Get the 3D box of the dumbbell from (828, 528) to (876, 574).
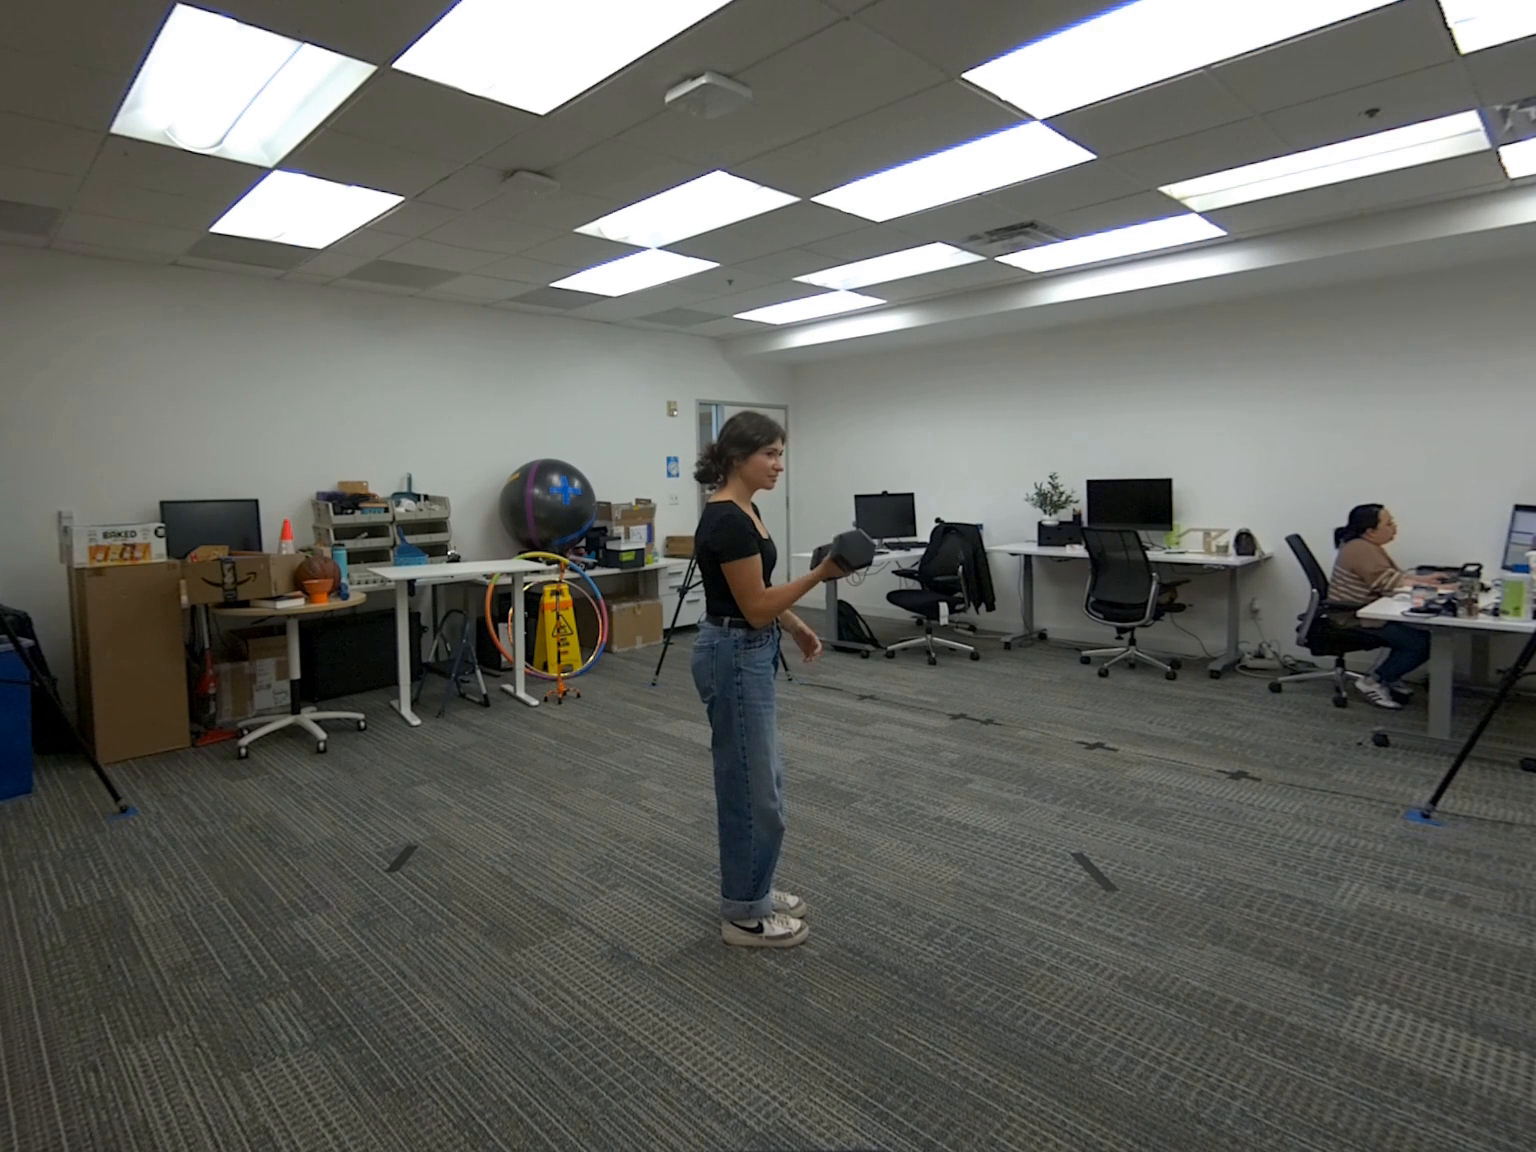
[{"bbox_3d":[0.205,-0.051,2.461,0.122,0.109,0.294,-15,-5,-15],"label":"dumbbell"}]
